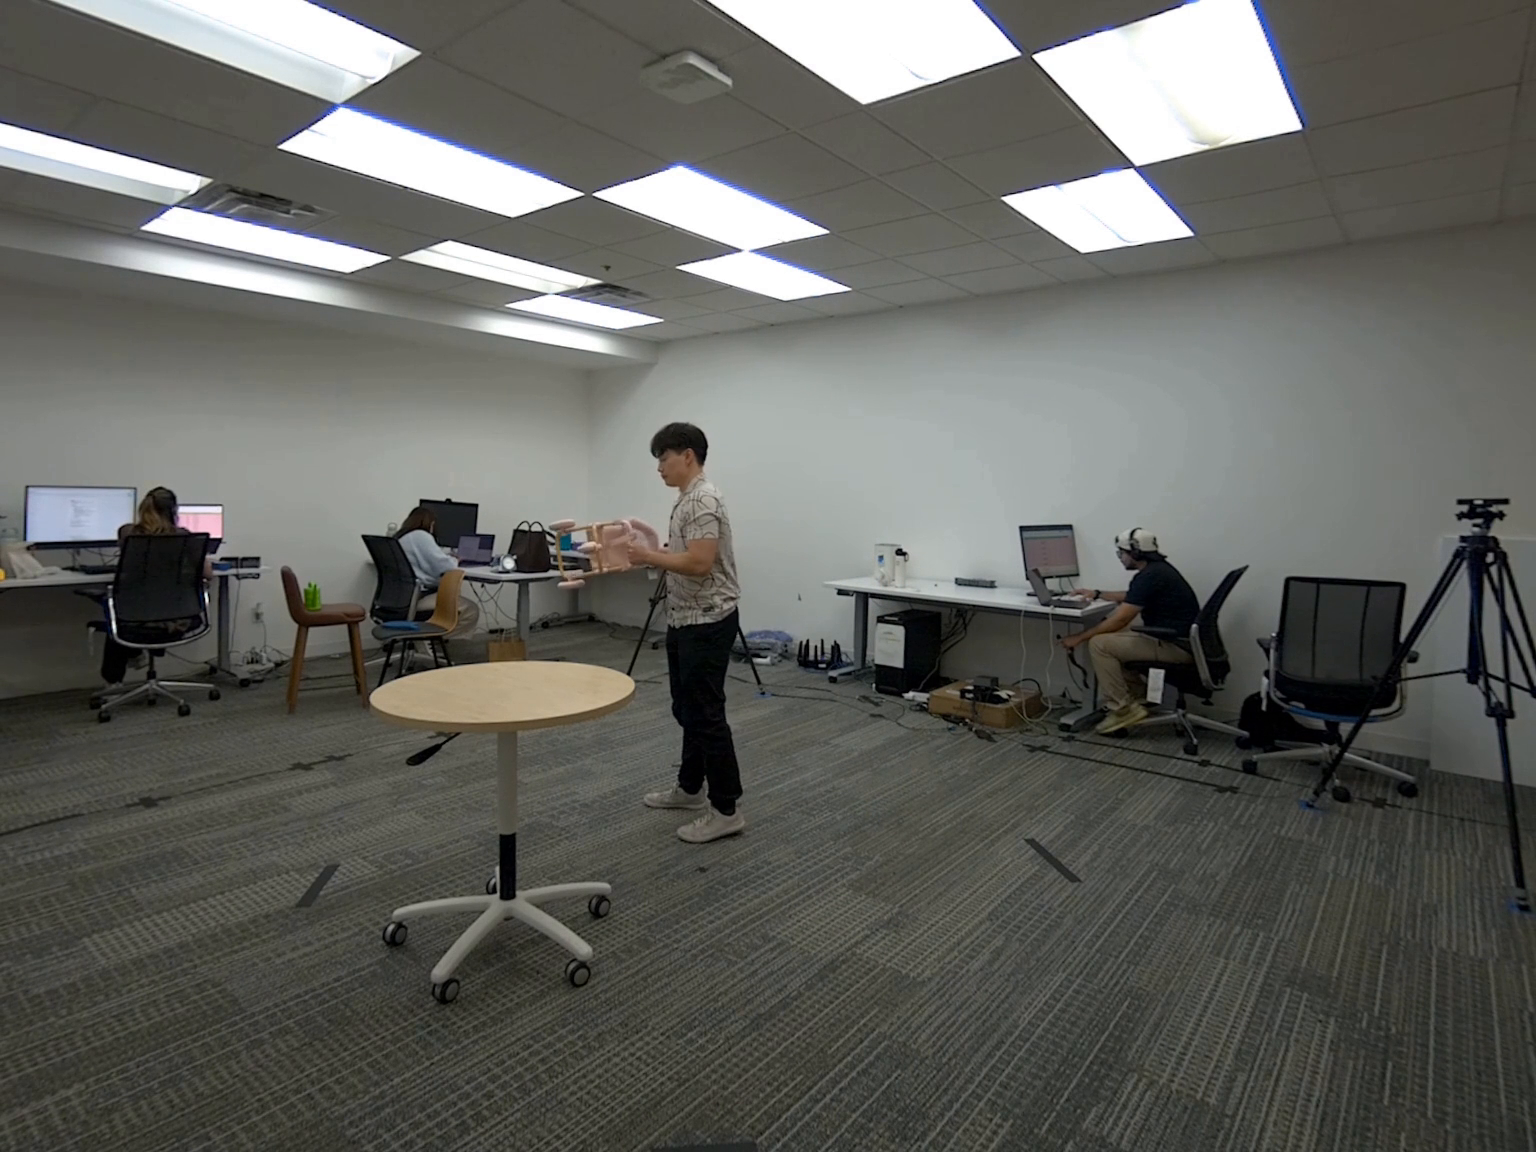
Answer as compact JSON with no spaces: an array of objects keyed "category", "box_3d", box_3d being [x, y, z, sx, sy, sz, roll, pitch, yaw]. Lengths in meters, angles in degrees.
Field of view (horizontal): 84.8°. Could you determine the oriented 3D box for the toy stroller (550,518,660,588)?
[{"category":"toy stroller","box_3d":[-0.665,-0.126,3.554,0.349,0.283,0.520,-14,-3,41]}]
